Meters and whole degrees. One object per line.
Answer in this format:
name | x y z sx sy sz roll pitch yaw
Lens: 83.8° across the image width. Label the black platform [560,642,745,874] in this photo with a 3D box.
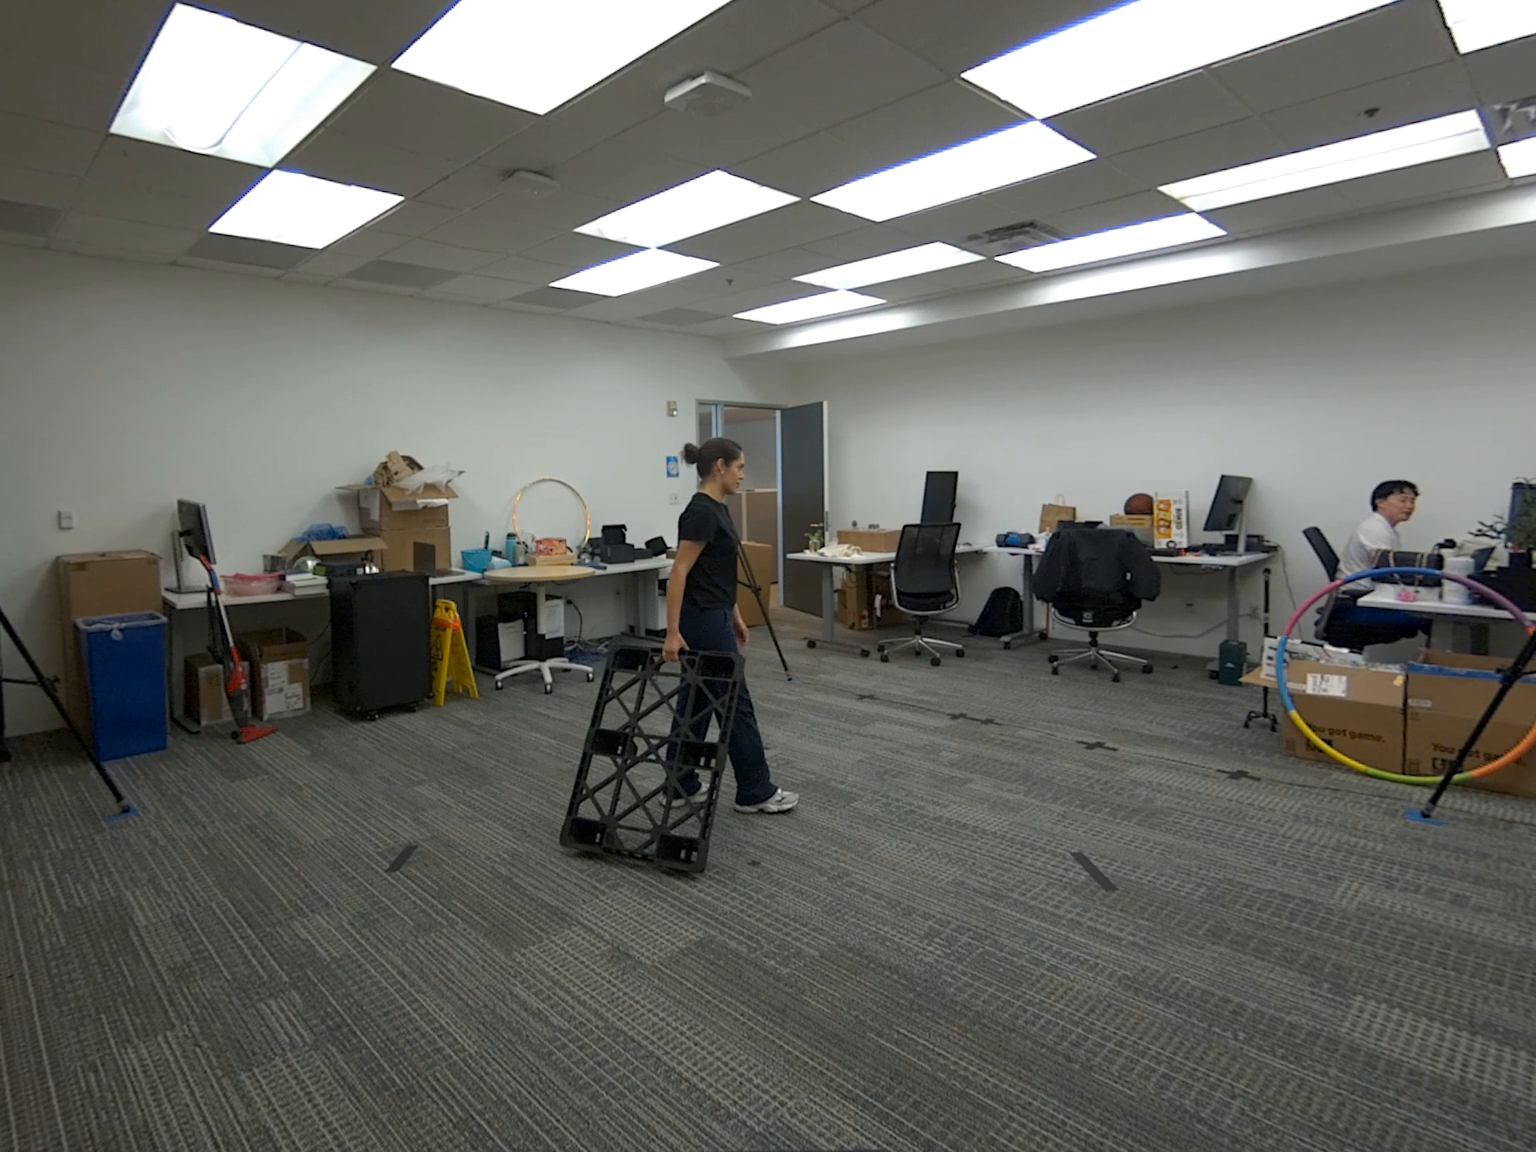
black platform | -0.418 0.677 3.297 0.618 0.818 0.138 1 -25 23
